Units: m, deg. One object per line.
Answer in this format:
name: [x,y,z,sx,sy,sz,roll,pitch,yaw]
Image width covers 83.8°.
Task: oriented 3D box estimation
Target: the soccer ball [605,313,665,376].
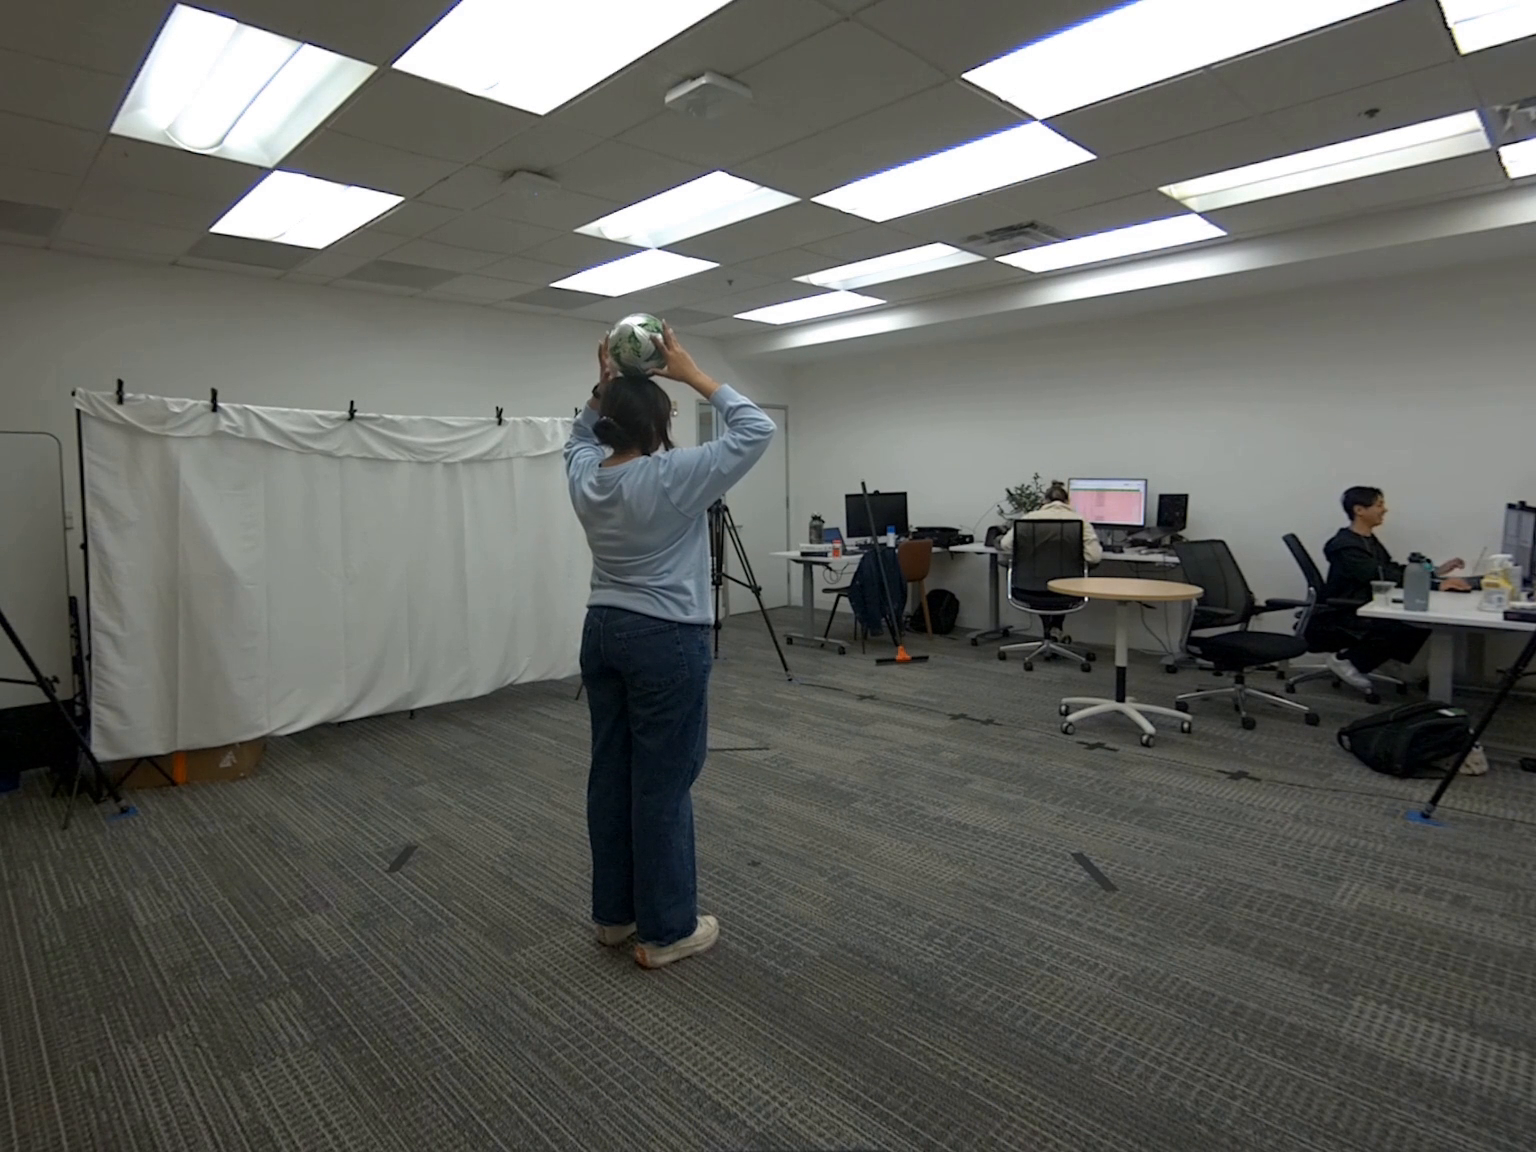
soccer ball: [-0.367,-0.668,2.487,0.187,0.187,0.188,-1,5,-2]
